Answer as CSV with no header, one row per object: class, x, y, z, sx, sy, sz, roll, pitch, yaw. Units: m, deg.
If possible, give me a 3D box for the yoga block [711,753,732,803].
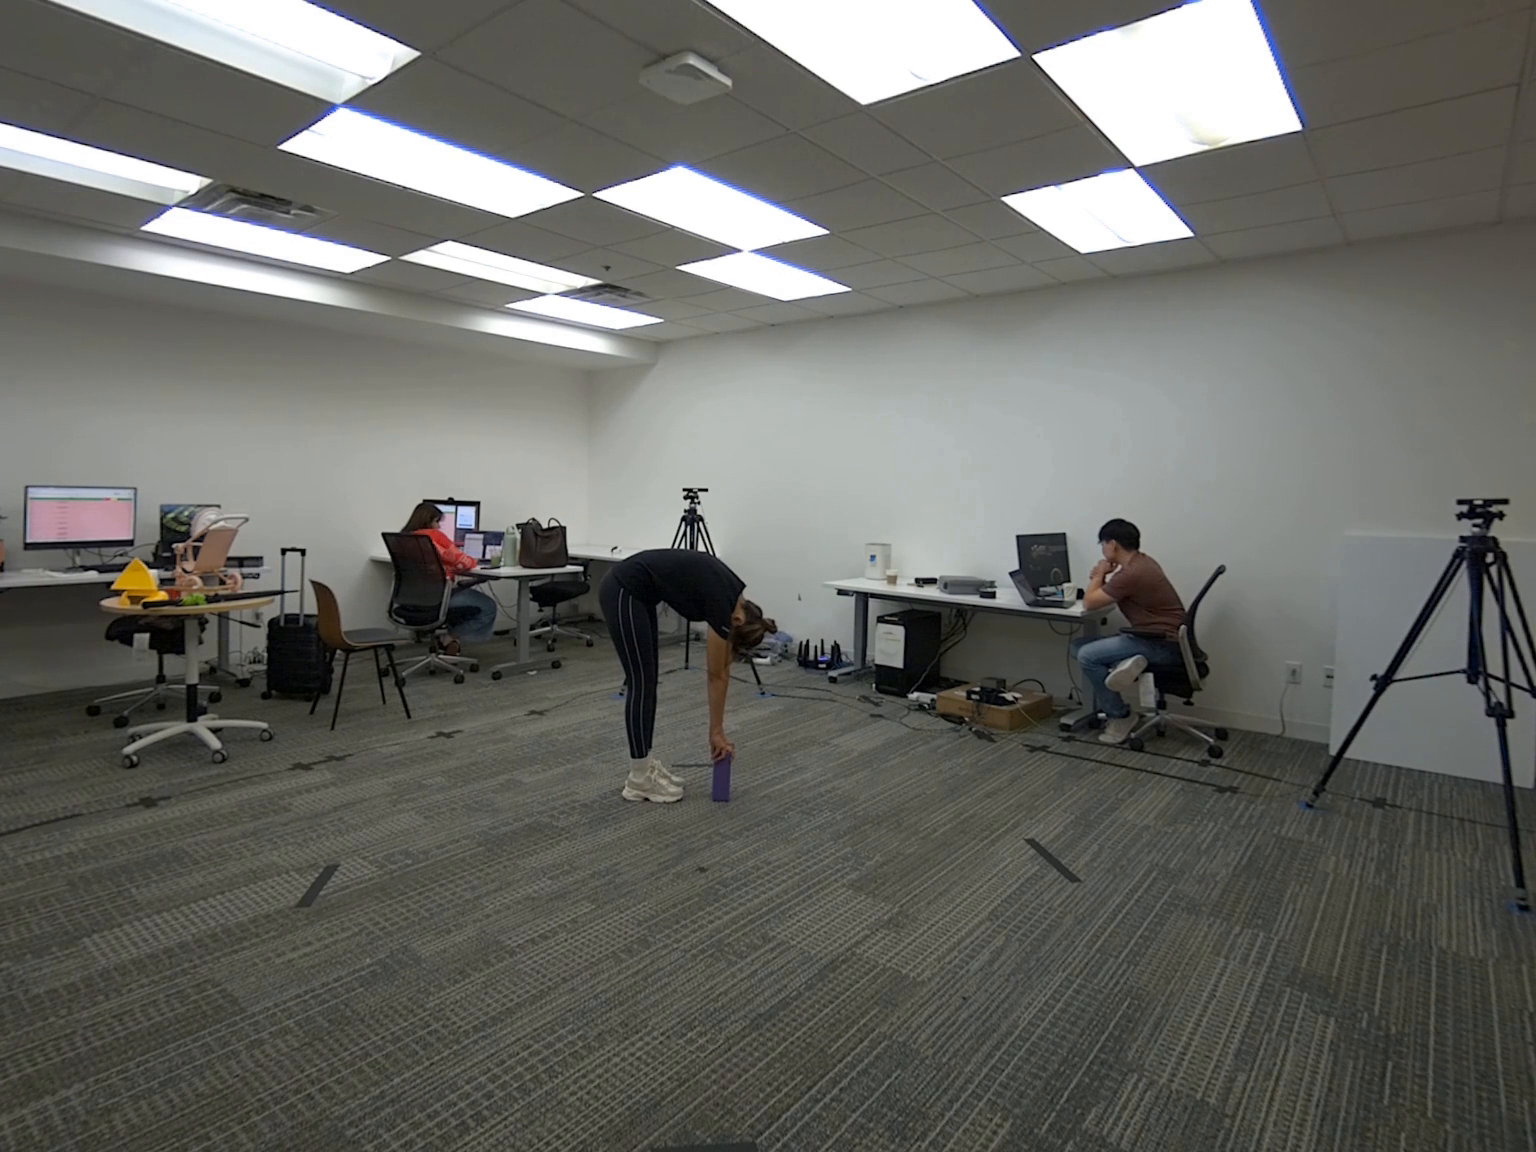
yoga block,-0.218,0.890,3.858,0.076,0.228,0.150,1,5,-4
